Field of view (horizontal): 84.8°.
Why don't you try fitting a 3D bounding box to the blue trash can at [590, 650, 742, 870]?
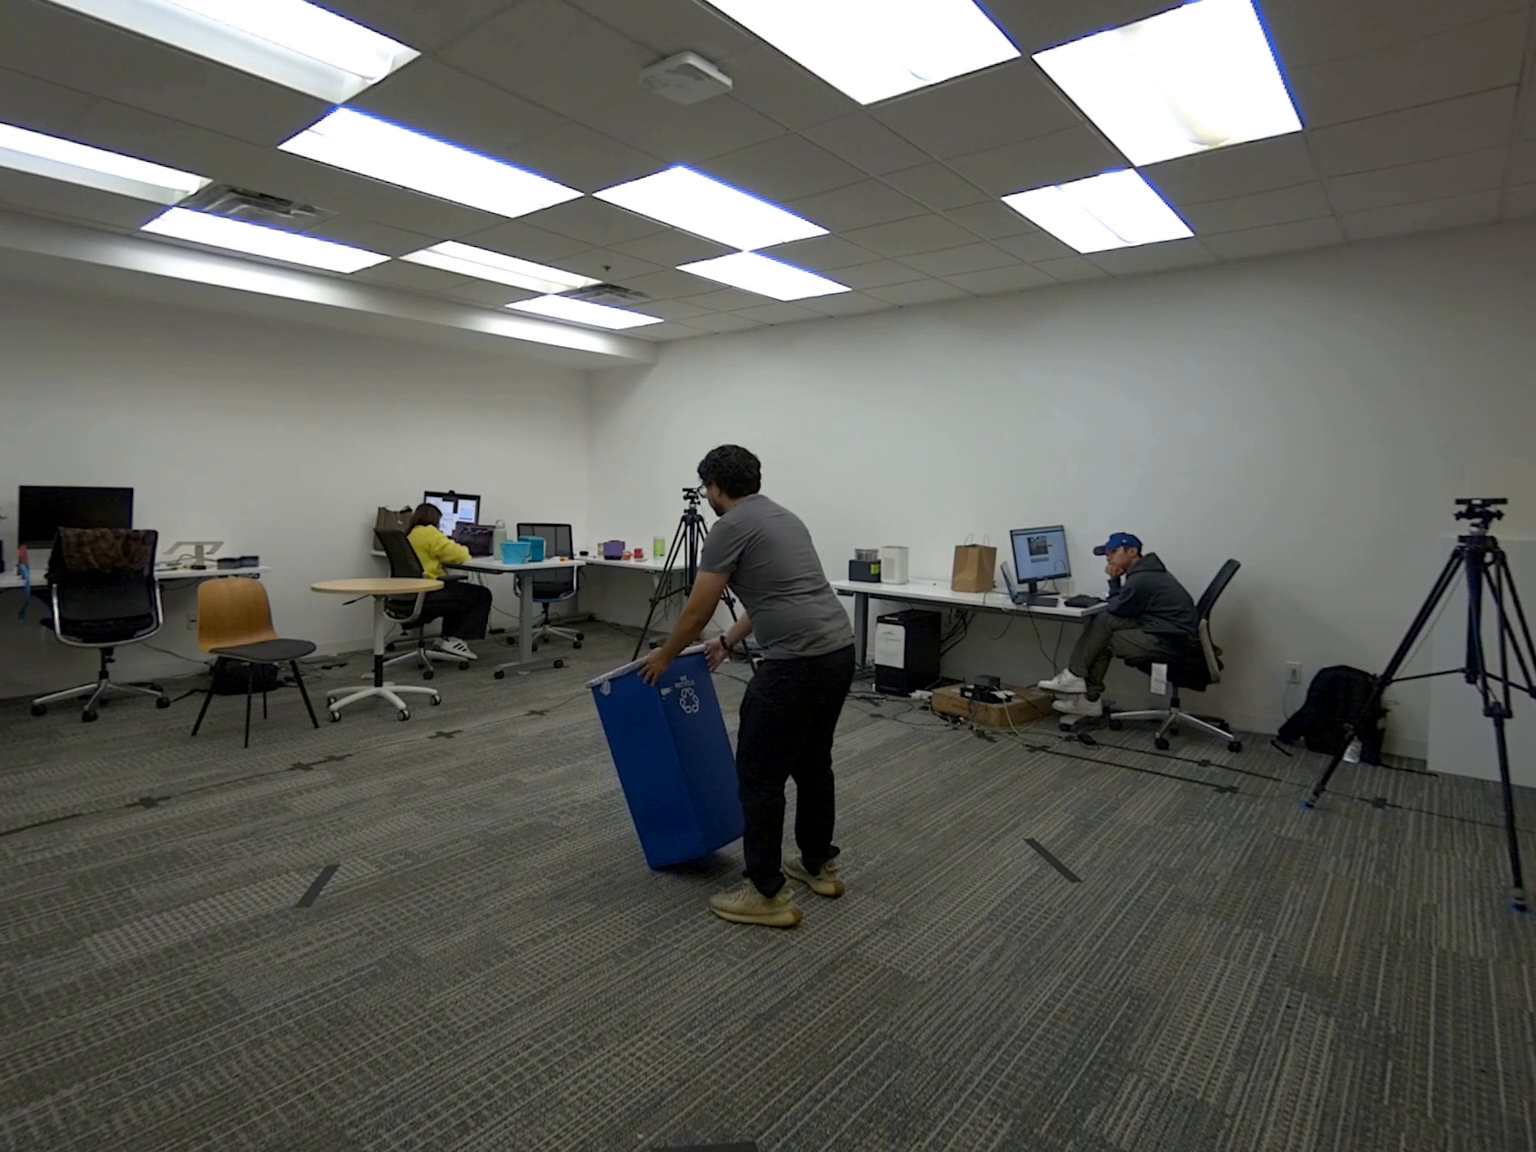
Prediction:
[{"bbox_3d":[-0.369,0.672,3.225,0.383,0.724,0.363,-26,-13,32],"label":"blue trash can"}]
